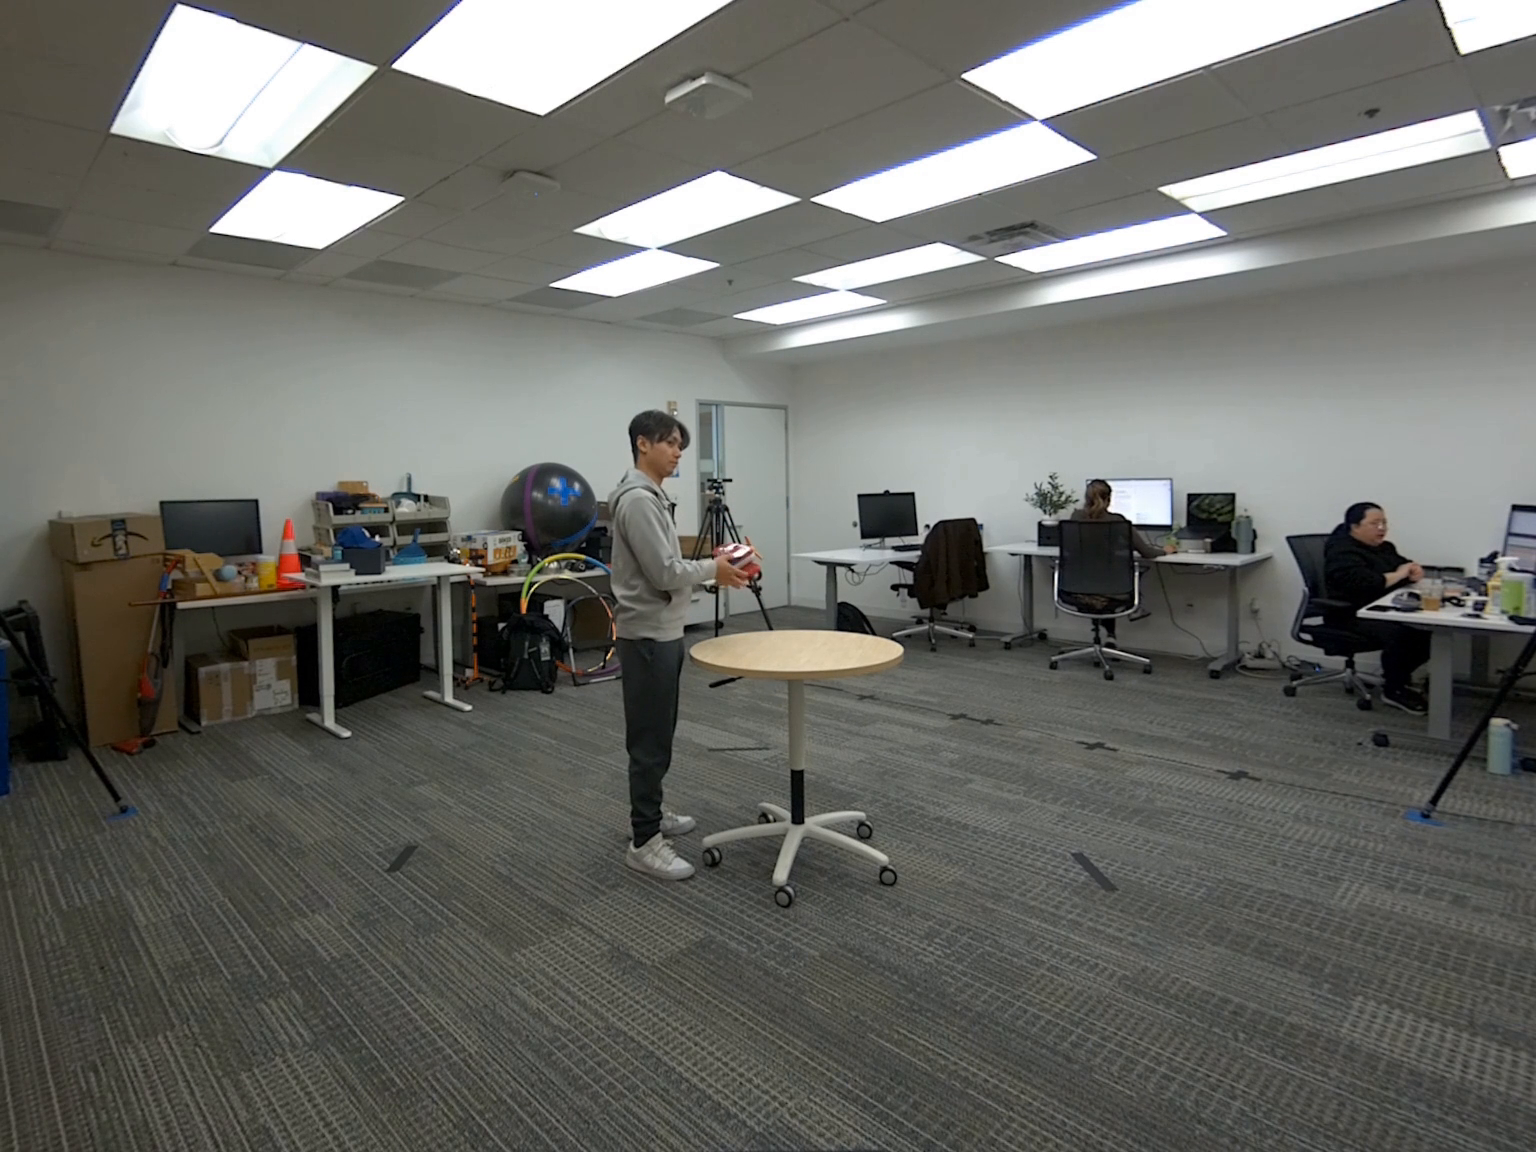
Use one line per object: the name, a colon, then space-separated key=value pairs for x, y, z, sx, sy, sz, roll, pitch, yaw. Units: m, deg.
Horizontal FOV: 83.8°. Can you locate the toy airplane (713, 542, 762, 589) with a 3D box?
toy airplane: x=-0.146 y=-0.032 z=3.326 sx=0.257 sy=0.155 sz=0.255 roll=-5 pitch=11 yaw=33
